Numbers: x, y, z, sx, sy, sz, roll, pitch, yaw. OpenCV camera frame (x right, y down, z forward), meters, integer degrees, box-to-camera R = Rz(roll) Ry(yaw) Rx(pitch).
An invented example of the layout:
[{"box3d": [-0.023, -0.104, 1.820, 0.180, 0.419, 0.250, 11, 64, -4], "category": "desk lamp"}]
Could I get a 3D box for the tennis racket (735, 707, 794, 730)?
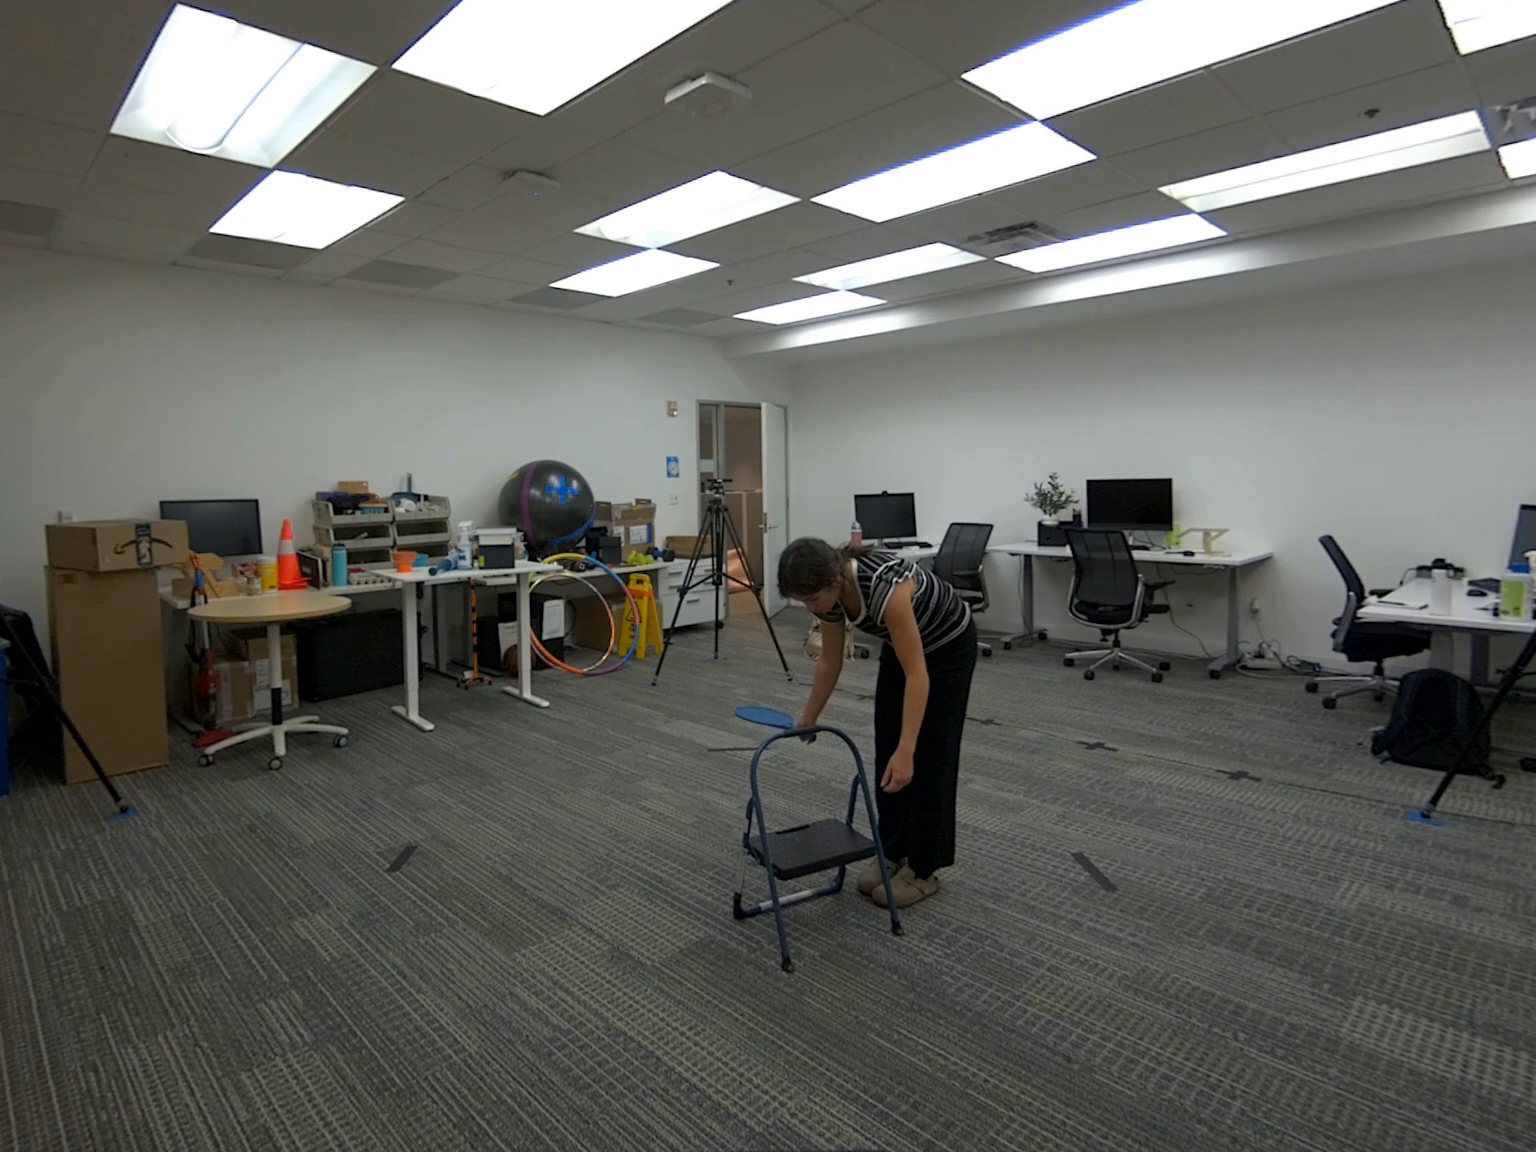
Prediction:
[{"box3d": [0.034, 0.575, 3.250, 0.208, 0.031, 0.446, 1, 5, -35], "category": "tennis racket"}]
